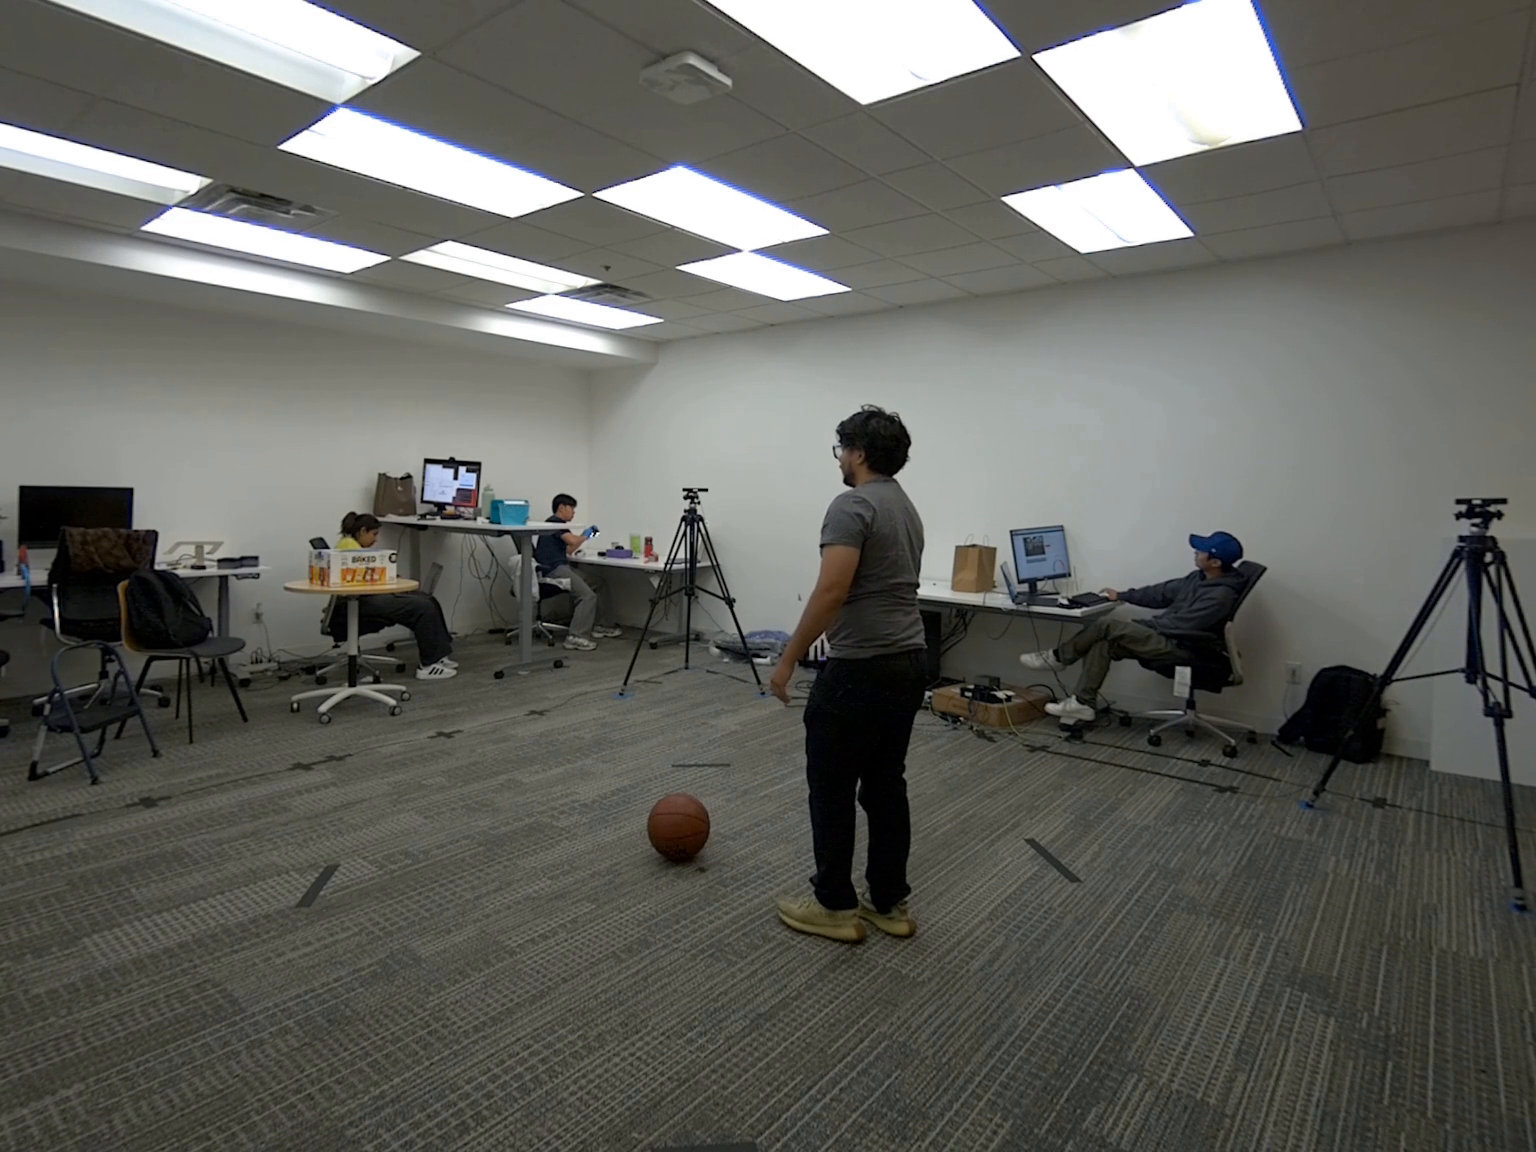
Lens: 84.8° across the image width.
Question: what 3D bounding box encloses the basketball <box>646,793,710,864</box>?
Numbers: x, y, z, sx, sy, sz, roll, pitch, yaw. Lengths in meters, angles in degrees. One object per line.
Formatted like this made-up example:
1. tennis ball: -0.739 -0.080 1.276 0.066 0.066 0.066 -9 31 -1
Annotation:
1. basketball: -0.350 0.936 3.199 0.235 0.235 0.237 1 4 -2
